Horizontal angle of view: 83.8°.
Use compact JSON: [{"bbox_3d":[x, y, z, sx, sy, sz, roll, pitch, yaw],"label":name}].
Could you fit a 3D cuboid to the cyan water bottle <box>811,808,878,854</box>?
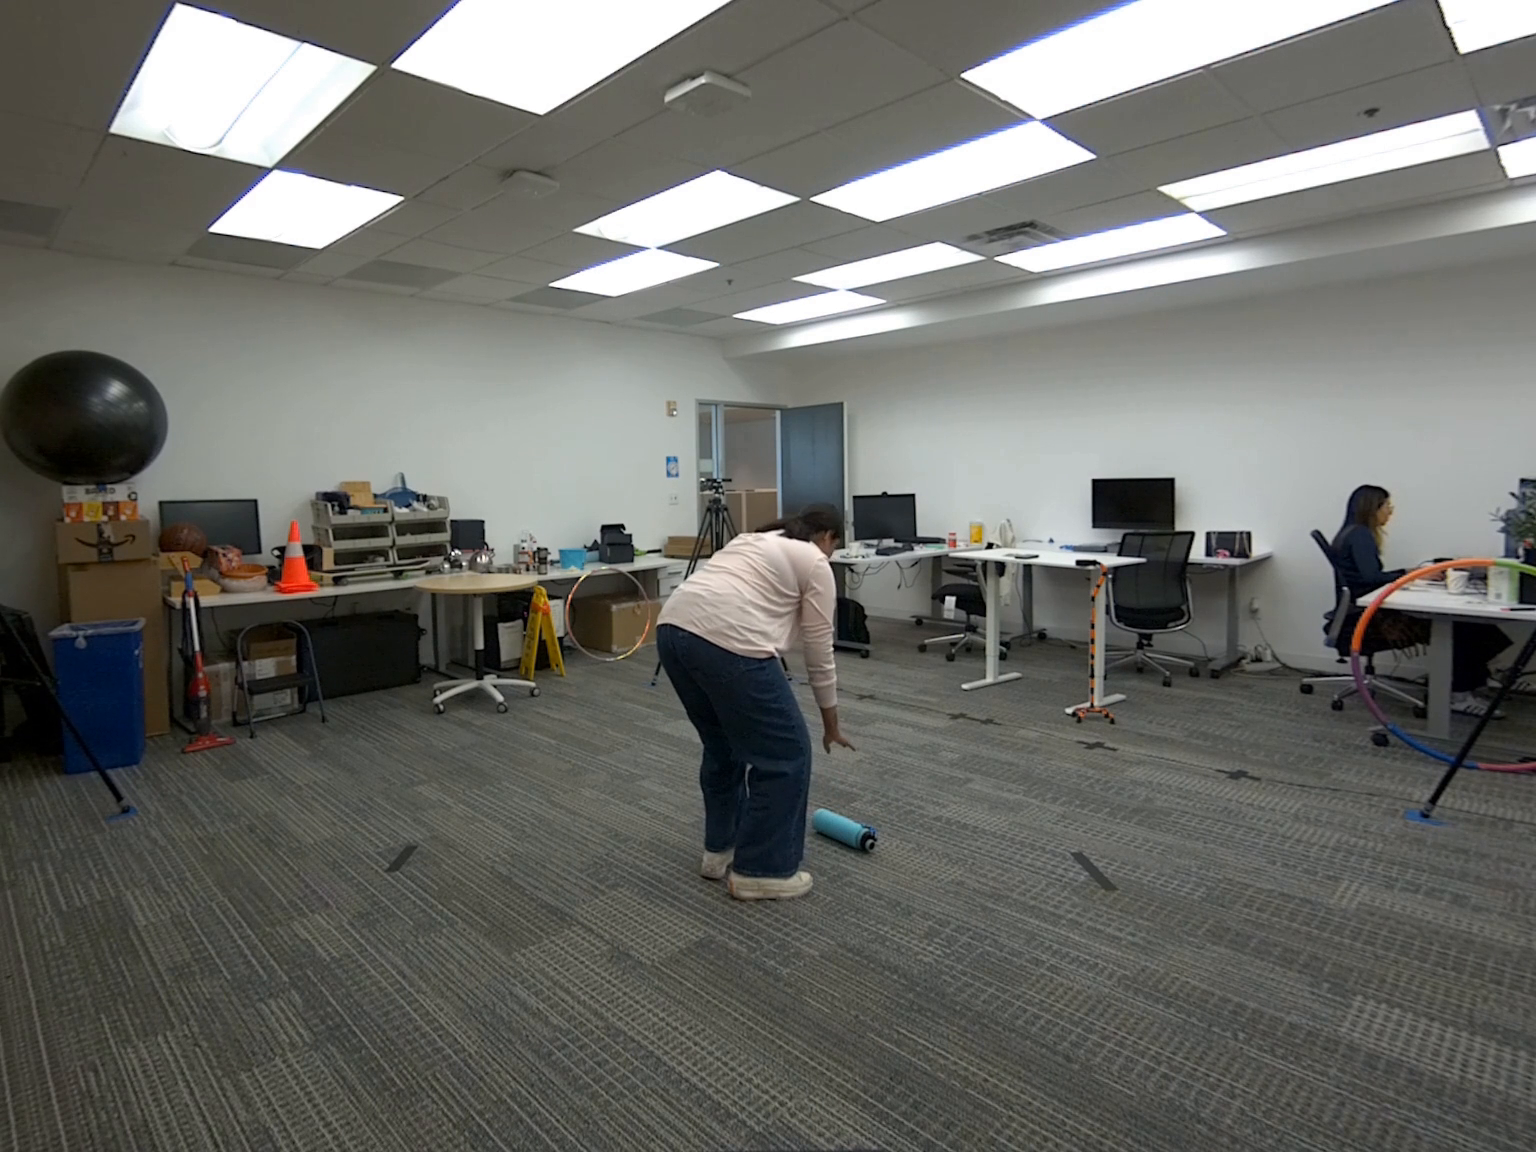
[{"bbox_3d":[0.296,0.971,3.276,0.090,0.092,0.292,-5,7,-40],"label":"cyan water bottle"}]
